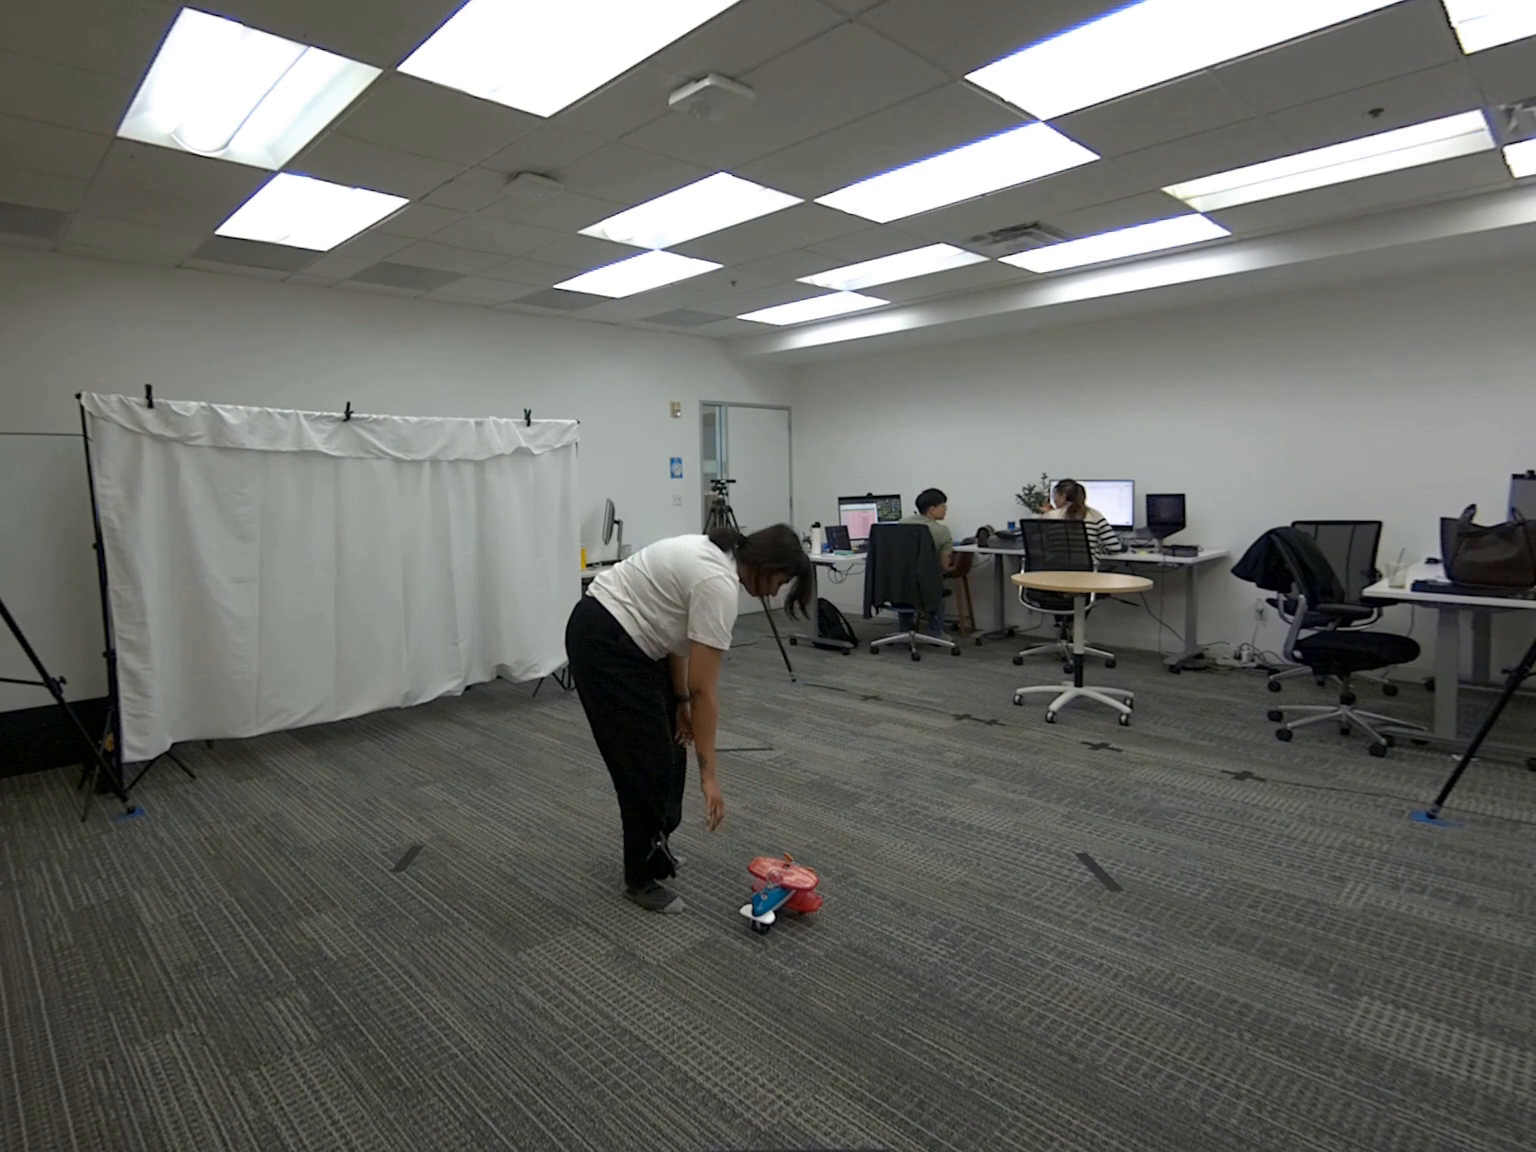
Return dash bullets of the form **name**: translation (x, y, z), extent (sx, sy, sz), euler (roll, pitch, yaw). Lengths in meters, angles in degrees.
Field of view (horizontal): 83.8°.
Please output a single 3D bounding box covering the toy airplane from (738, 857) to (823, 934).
- **toy airplane**: translation (0.049, 1.008, 2.705), extent (0.254, 0.156, 0.257), euler (1, 5, 9)
